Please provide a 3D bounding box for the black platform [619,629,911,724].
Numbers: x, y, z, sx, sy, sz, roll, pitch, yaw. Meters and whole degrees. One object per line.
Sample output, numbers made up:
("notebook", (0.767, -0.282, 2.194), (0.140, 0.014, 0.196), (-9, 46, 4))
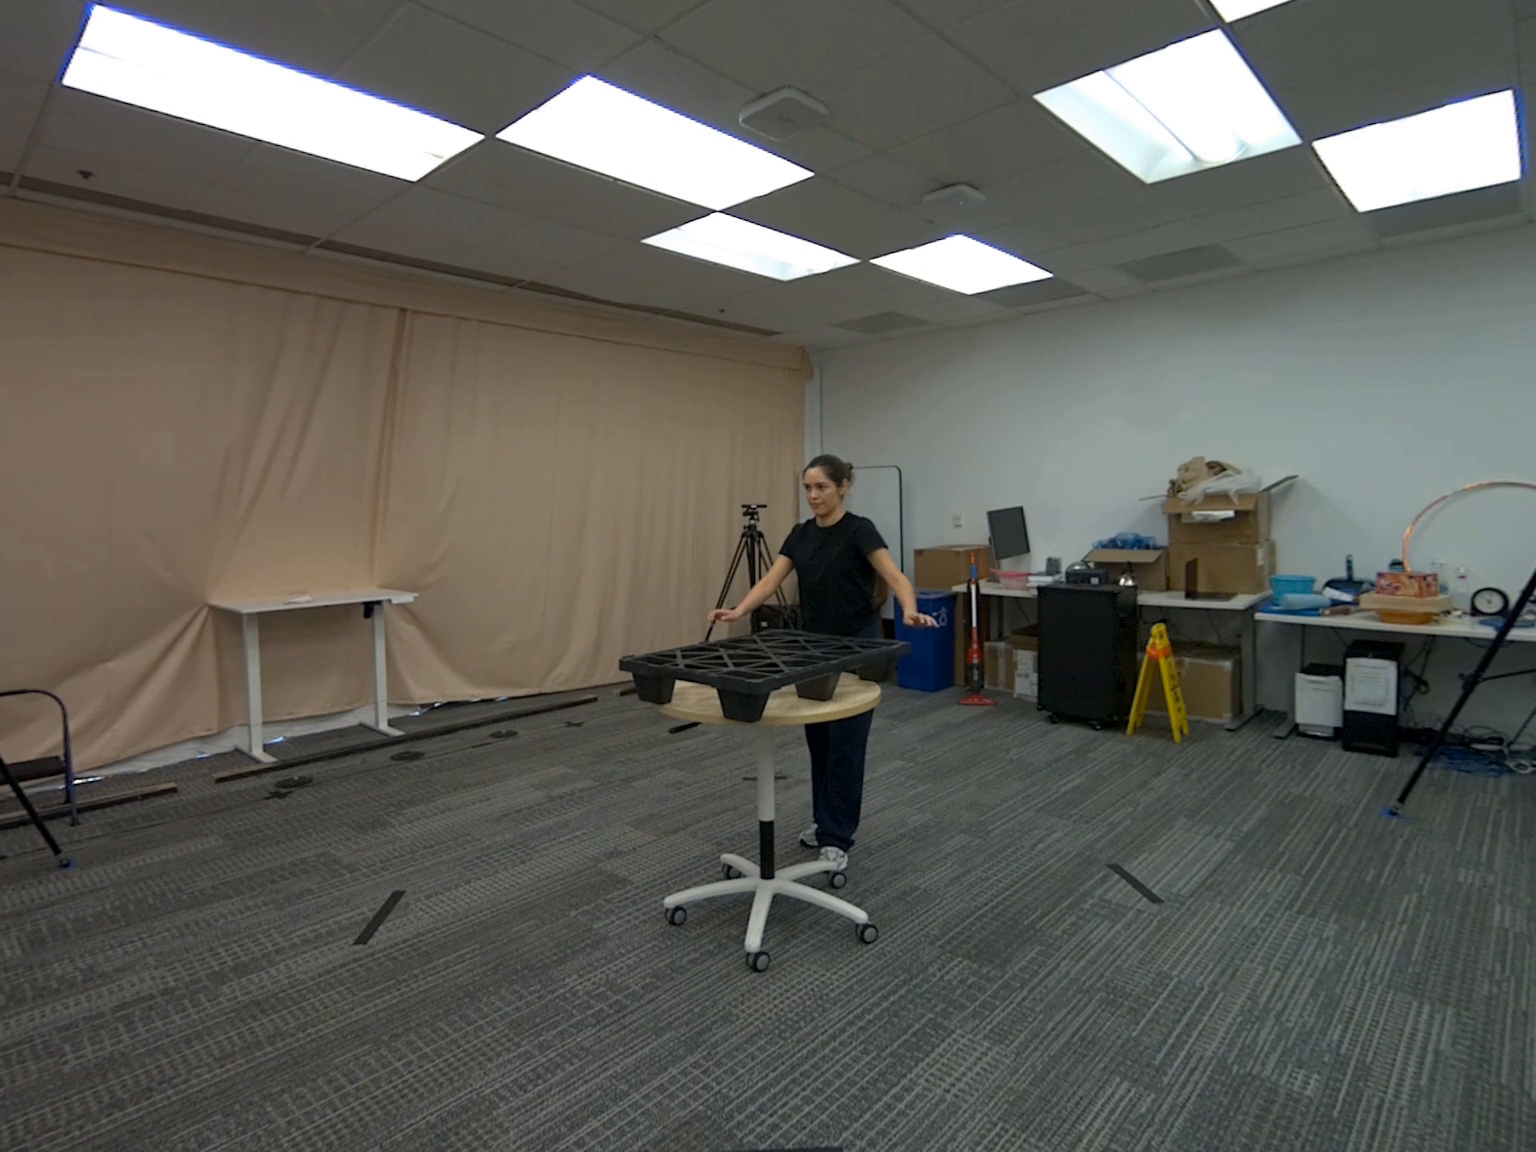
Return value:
("black platform", (0.024, 0.312, 2.761), (0.625, 0.143, 0.781), (3, 6, 42))
